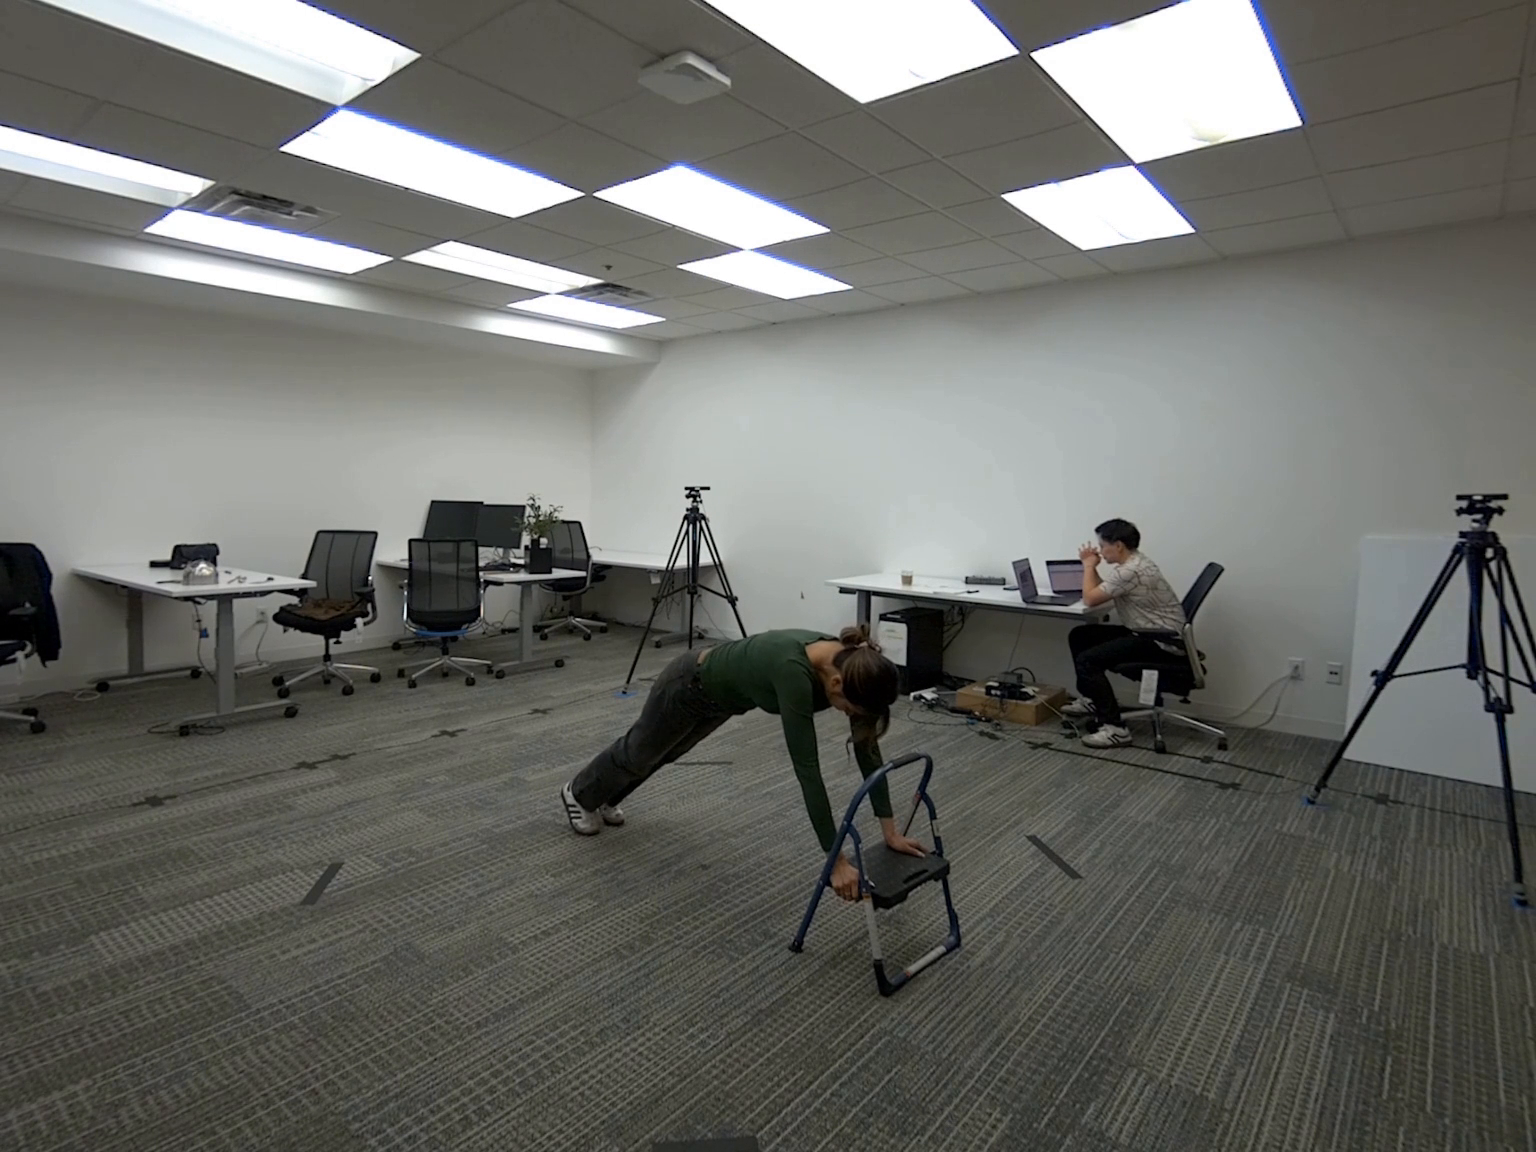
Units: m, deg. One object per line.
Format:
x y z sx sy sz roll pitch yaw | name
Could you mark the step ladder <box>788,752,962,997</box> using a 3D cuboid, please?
0.332 0.828 2.579 0.361 0.604 0.417 5 5 42 | step ladder
